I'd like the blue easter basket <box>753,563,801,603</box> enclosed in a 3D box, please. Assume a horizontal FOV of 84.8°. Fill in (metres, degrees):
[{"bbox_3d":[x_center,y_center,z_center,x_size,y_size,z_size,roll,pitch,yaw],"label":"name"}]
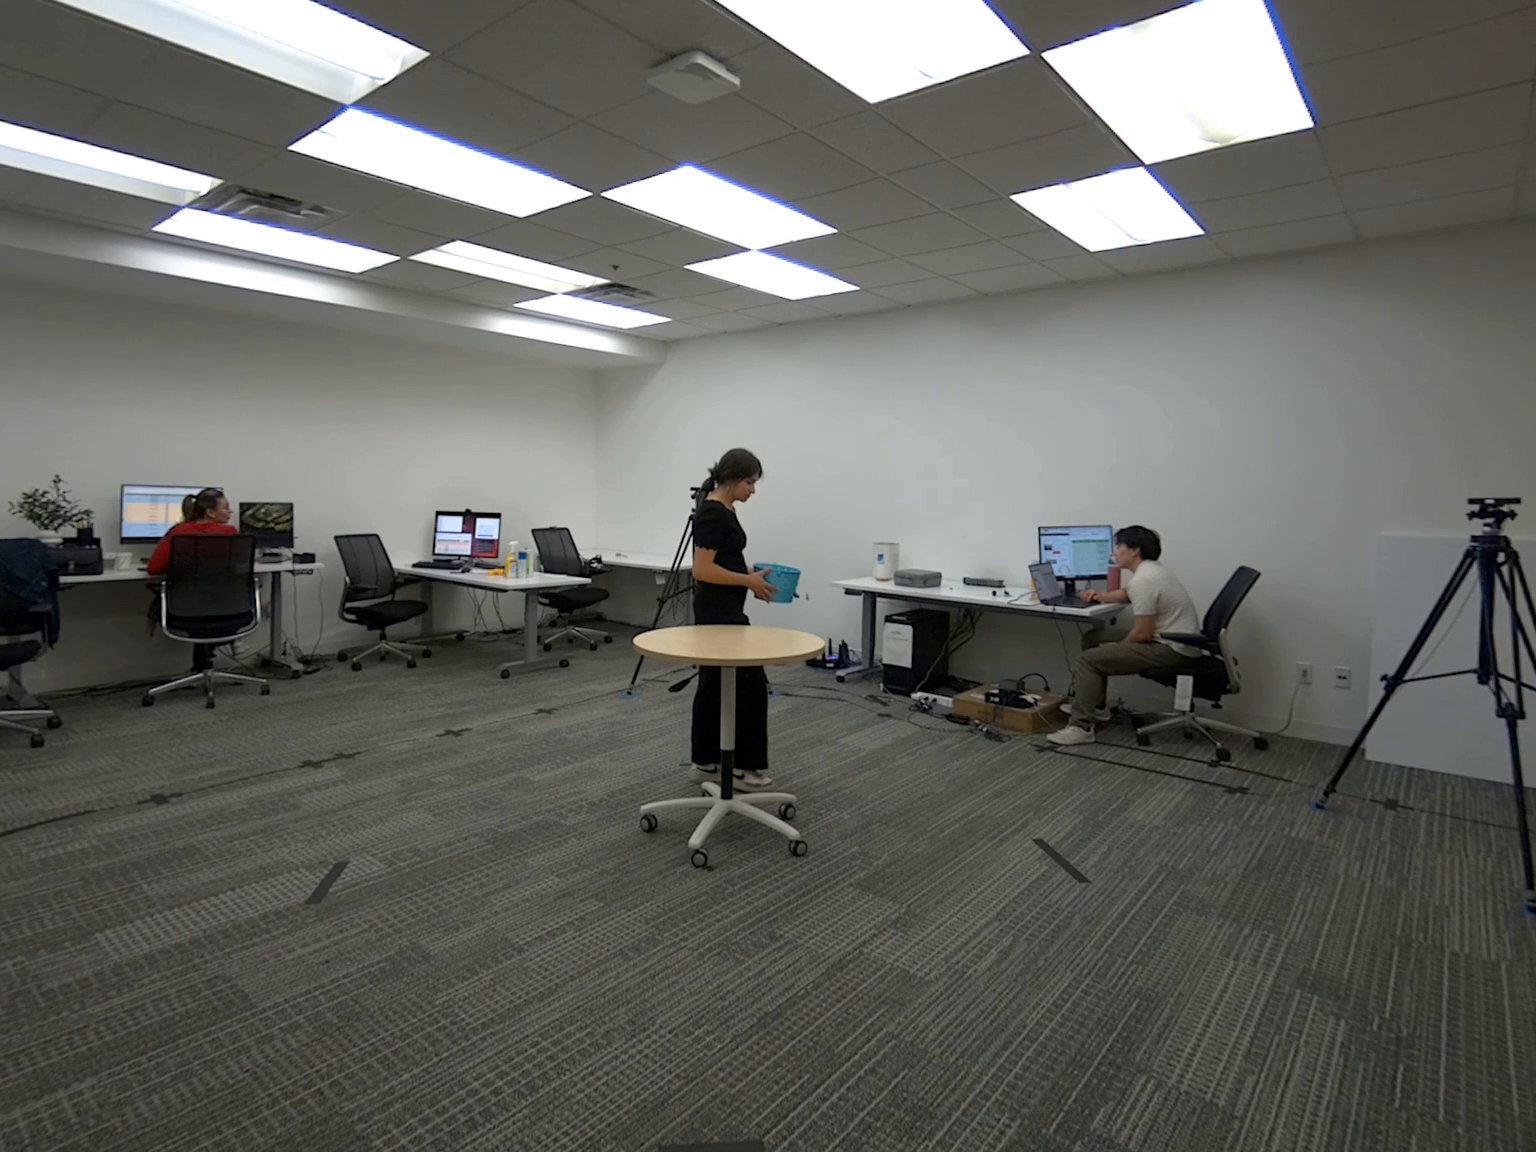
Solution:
[{"bbox_3d":[0.029,0.036,3.991,0.243,0.155,0.245,7,6,-3],"label":"blue easter basket"}]
